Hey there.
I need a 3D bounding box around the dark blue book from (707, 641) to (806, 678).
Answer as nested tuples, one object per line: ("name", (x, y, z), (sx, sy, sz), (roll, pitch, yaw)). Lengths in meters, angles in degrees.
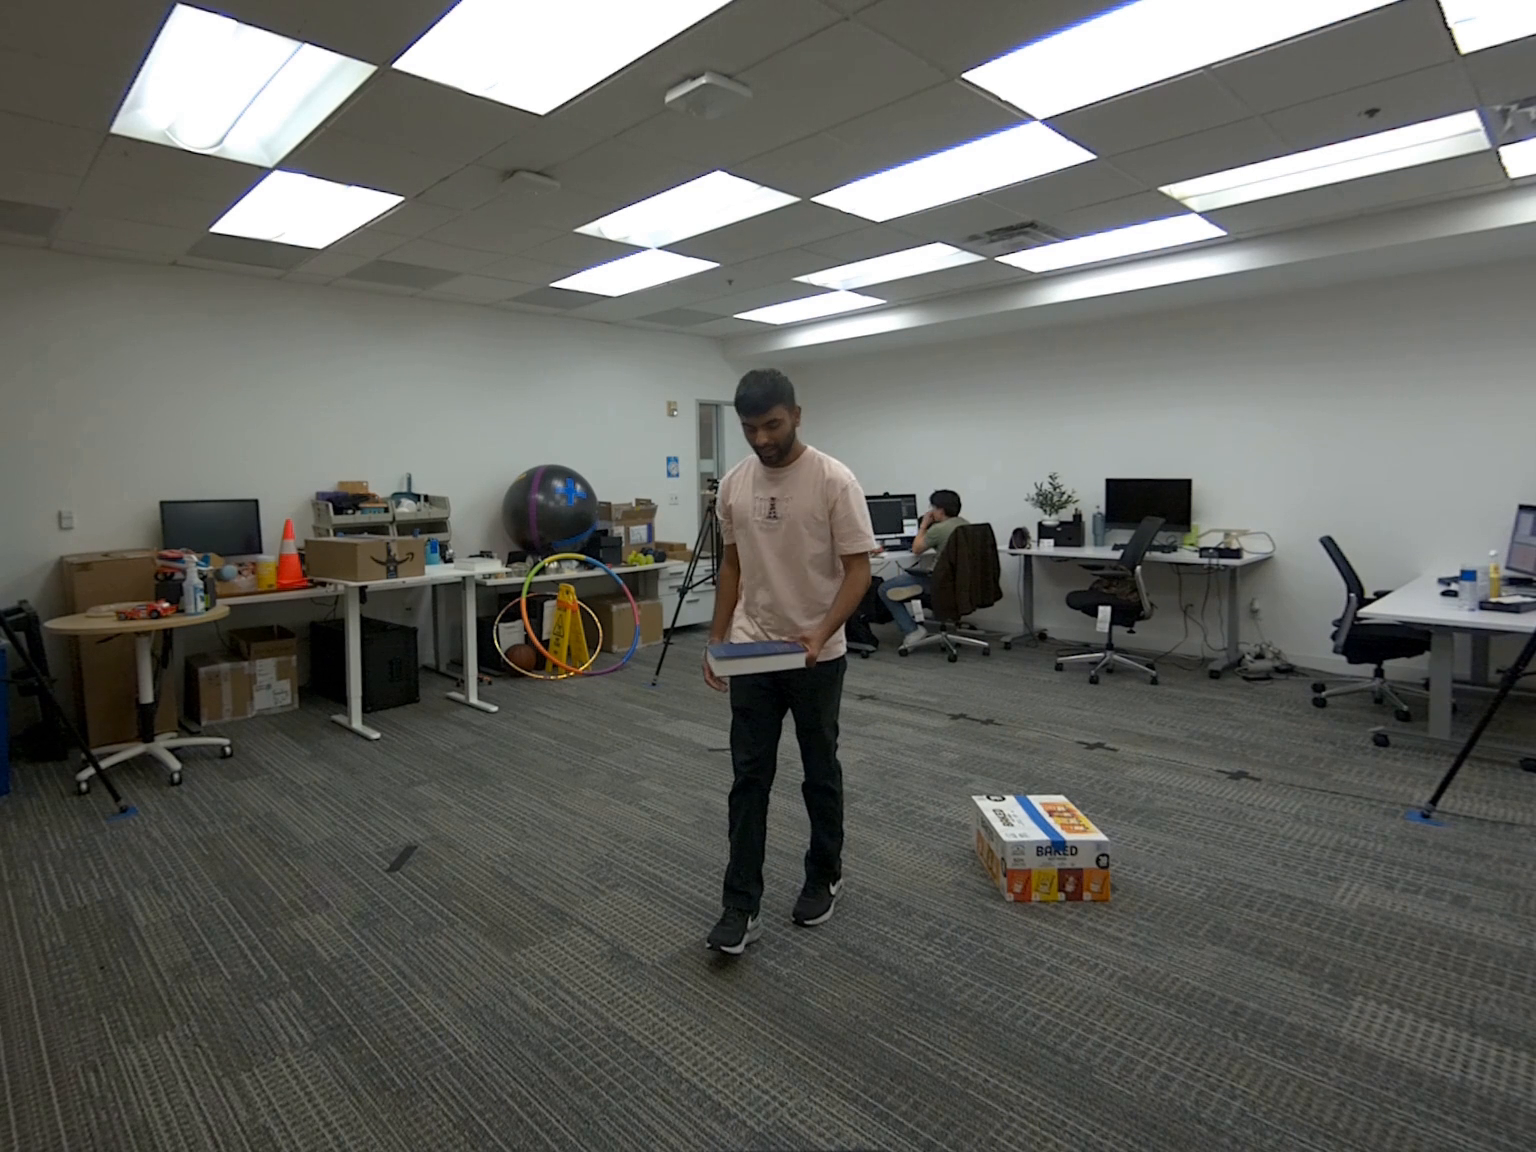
("dark blue book", (-0.032, 0.214, 2.271), (0.244, 0.045, 0.165), (-1, 10, -5))
